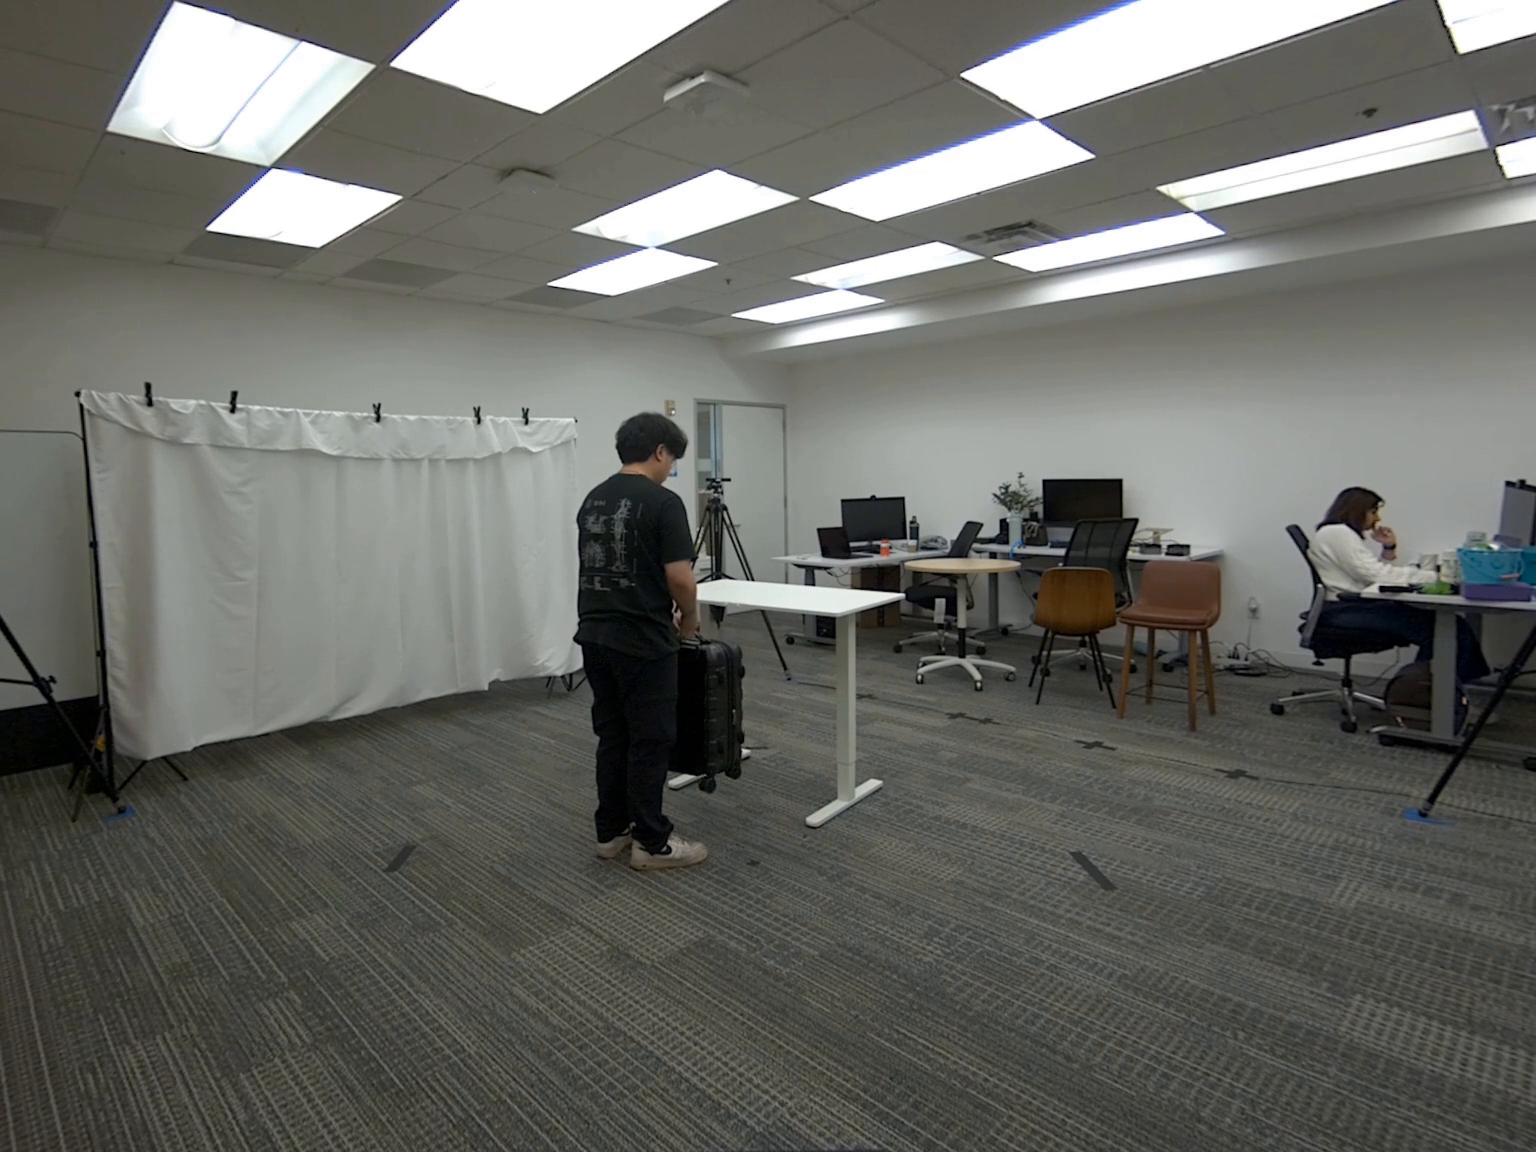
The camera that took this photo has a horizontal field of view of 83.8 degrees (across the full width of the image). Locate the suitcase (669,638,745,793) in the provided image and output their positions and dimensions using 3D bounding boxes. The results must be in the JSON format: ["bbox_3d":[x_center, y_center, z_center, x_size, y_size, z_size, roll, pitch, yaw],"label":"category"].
[{"bbox_3d":[-0.291,0.516,3.329,0.385,0.549,0.242,2,0,30],"label":"suitcase"}]
